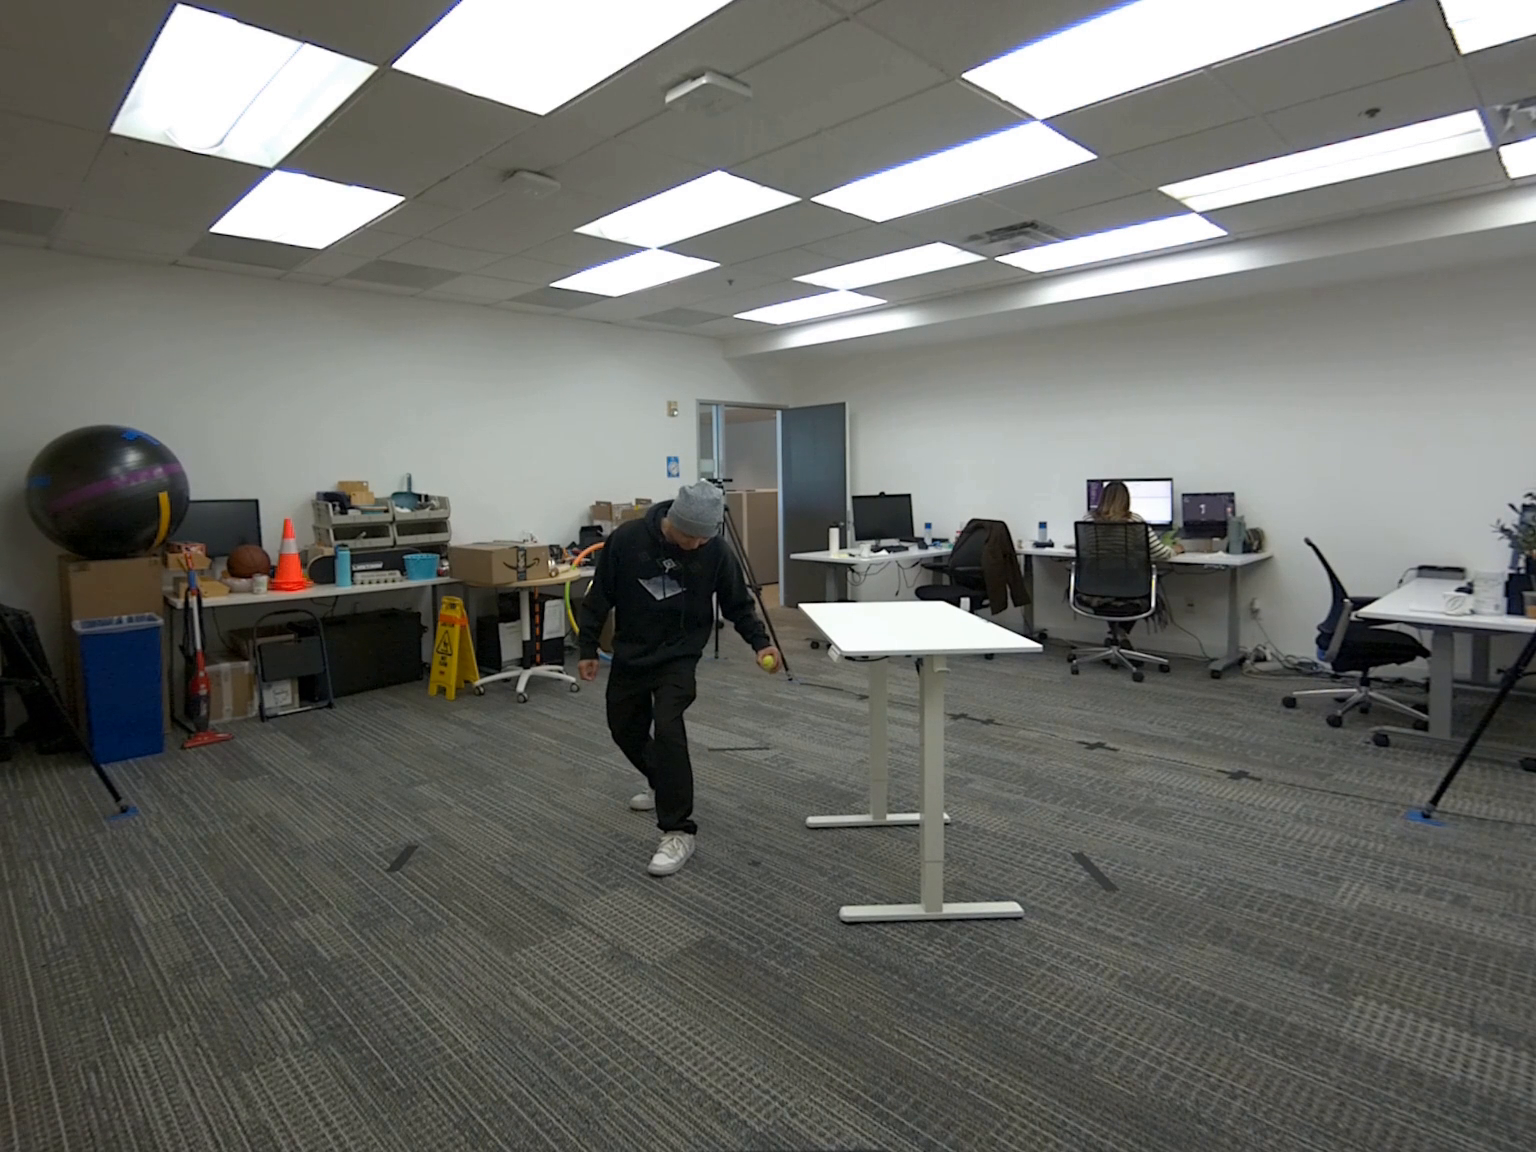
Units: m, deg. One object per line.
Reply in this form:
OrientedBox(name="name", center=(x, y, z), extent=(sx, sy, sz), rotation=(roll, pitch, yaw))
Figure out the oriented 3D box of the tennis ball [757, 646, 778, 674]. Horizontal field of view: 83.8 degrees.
OrientedBox(name="tennis ball", center=(-0.029, 0.321, 3.382), extent=(0.066, 0.066, 0.067), rotation=(-1, 5, -2))
